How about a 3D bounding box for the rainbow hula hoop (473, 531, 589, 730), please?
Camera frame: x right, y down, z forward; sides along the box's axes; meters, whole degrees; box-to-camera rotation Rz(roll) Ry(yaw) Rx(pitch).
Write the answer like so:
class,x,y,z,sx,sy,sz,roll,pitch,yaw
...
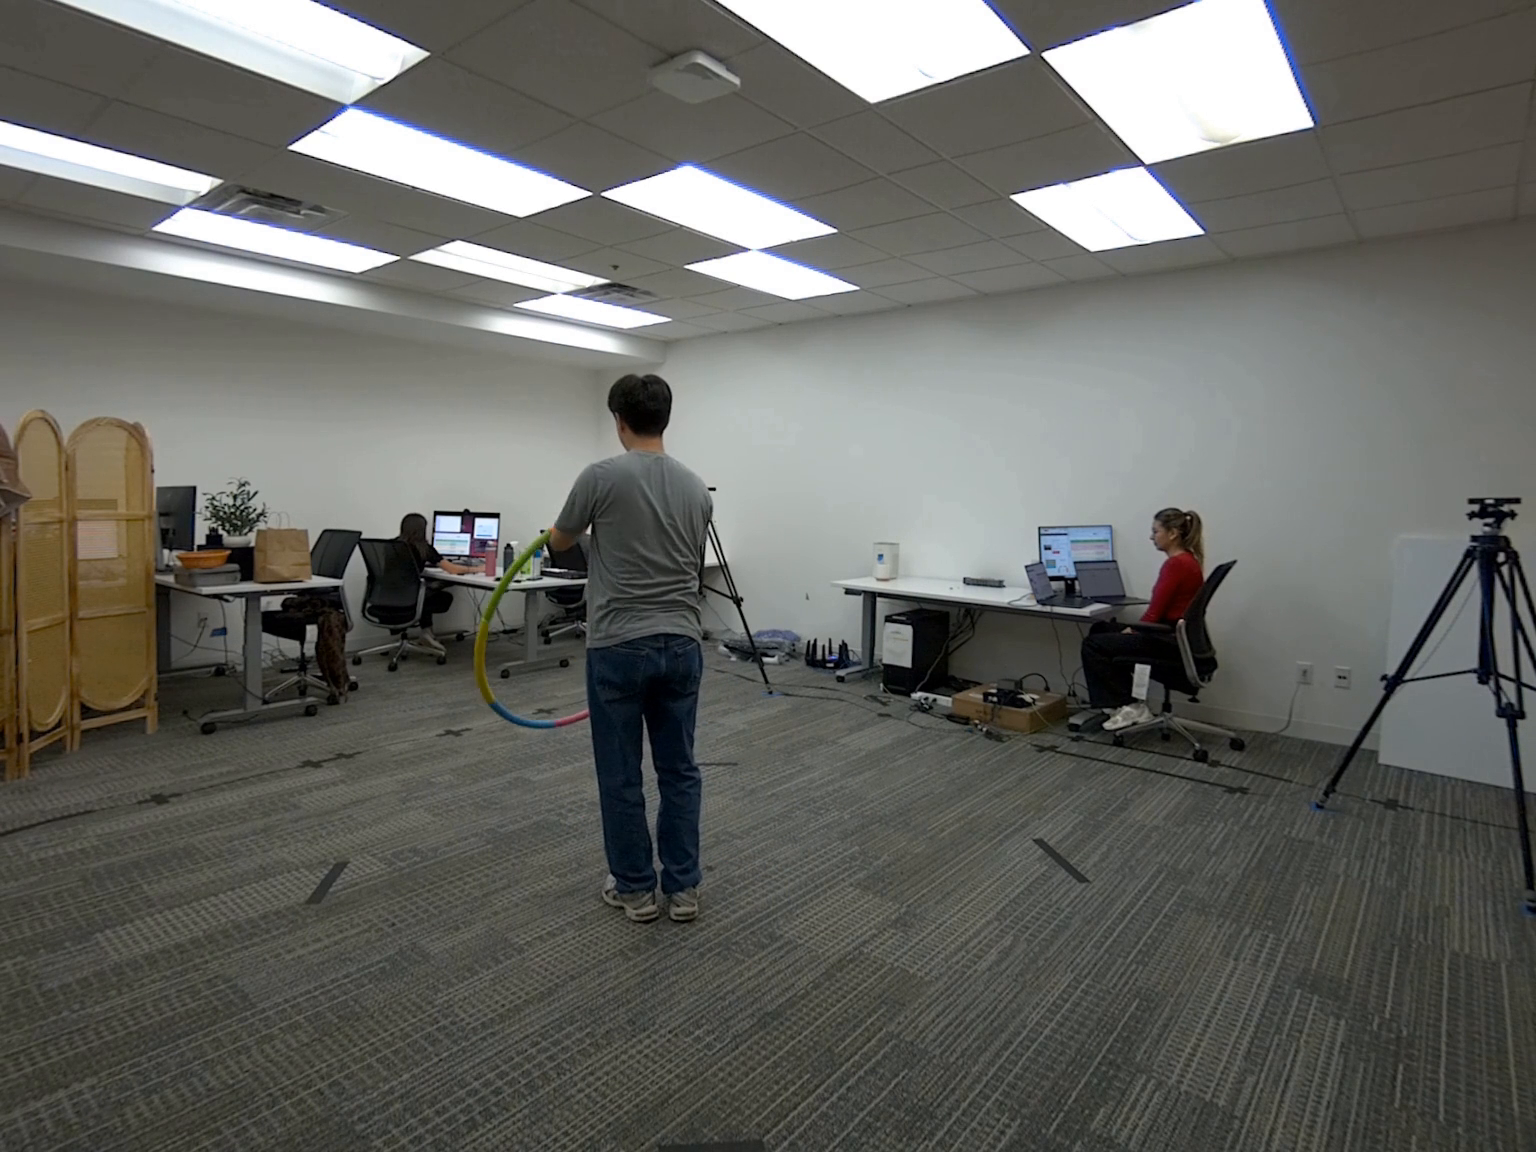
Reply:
class,x,y,z,sx,sy,sz,roll,pitch,yaw
rainbow hula hoop,-0.681,0.186,3.282,0.037,0.968,0.949,33,24,36
